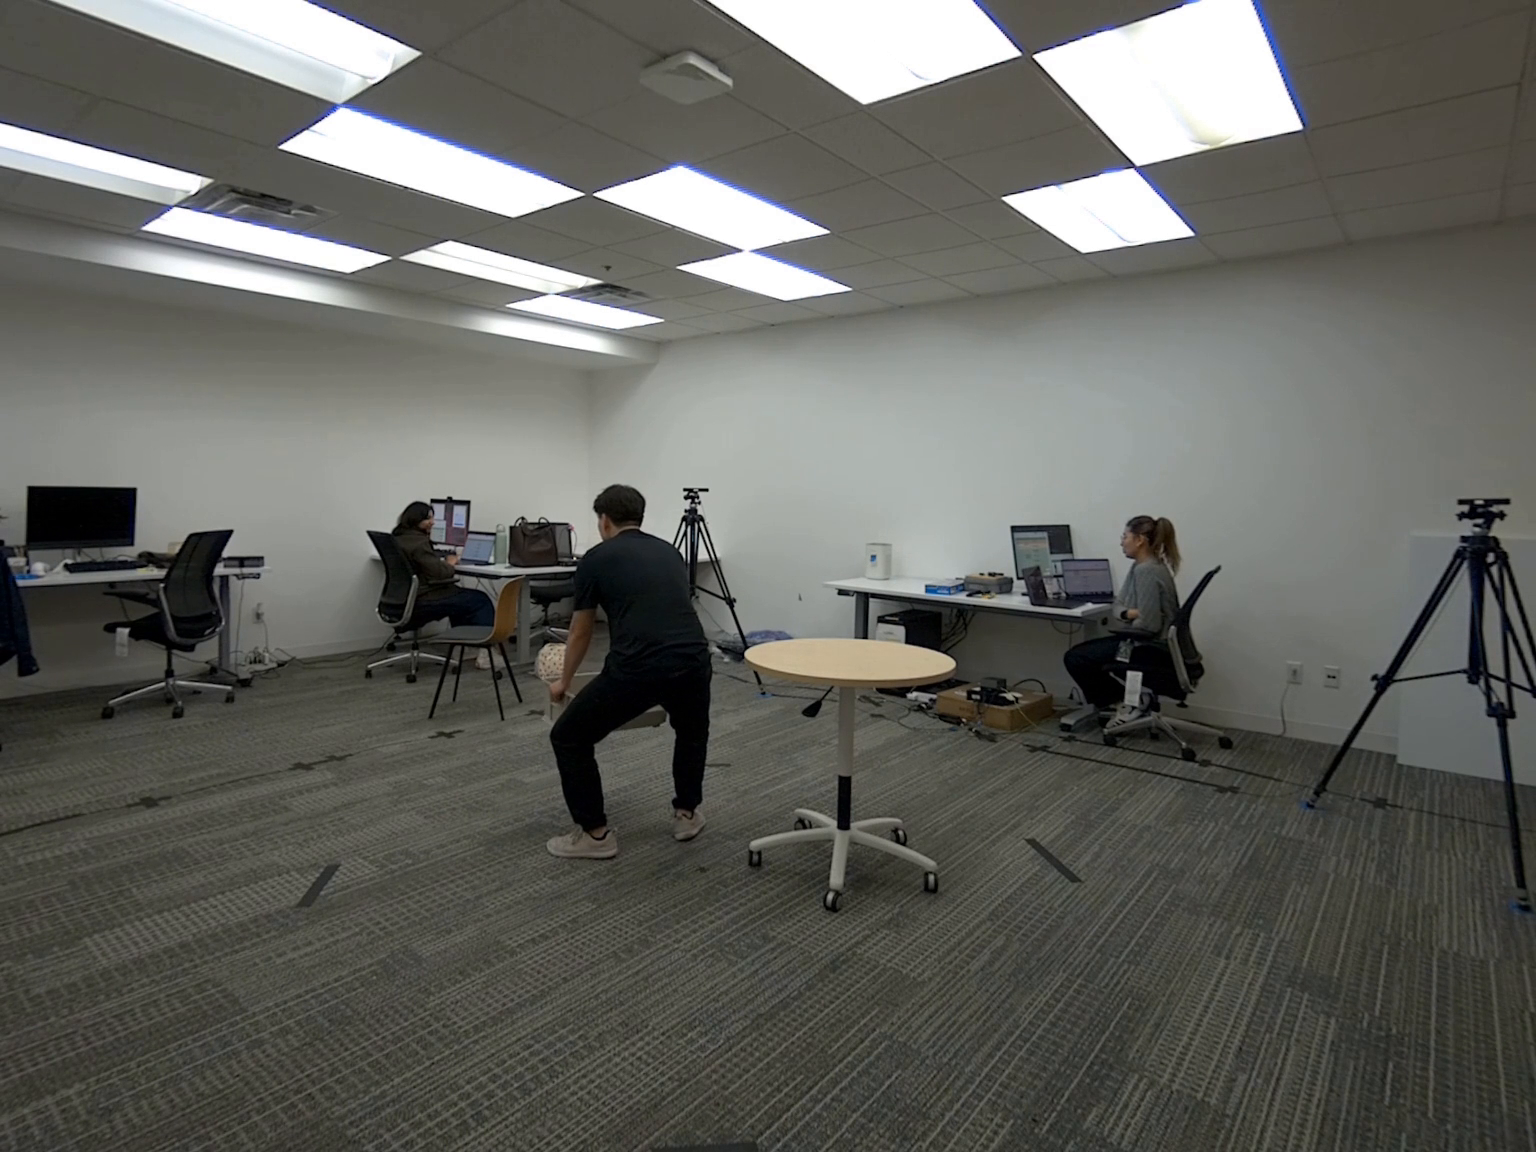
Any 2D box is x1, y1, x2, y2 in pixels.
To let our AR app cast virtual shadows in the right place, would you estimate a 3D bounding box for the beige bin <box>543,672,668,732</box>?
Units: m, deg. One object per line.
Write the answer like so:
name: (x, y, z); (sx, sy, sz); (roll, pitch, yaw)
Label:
beige bin: (-0.711, 0.541, 3.614); (0.410, 0.188, 0.390); (-2, 6, -36)
